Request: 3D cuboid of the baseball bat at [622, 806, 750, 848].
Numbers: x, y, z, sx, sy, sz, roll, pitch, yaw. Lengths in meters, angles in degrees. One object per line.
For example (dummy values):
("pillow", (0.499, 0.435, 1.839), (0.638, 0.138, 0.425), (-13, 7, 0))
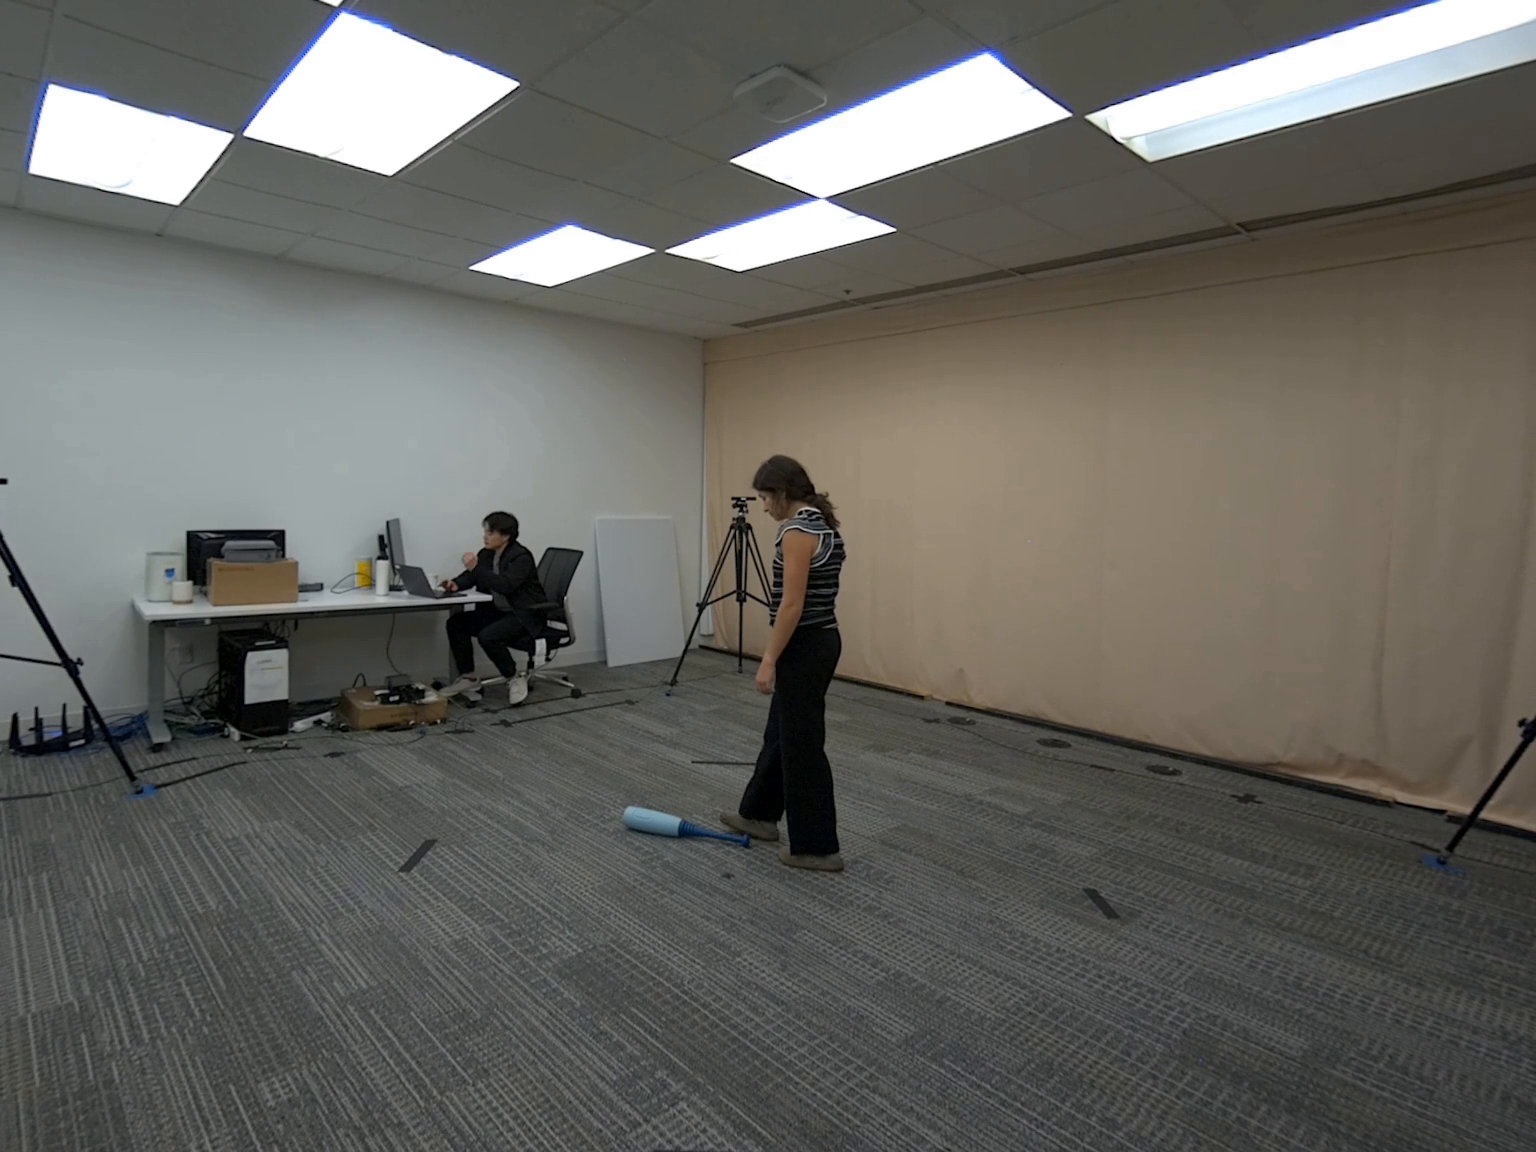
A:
("baseball bat", (-0.343, 1.035, 3.445), (0.551, 0.089, 0.088), (7, 6, 18))
